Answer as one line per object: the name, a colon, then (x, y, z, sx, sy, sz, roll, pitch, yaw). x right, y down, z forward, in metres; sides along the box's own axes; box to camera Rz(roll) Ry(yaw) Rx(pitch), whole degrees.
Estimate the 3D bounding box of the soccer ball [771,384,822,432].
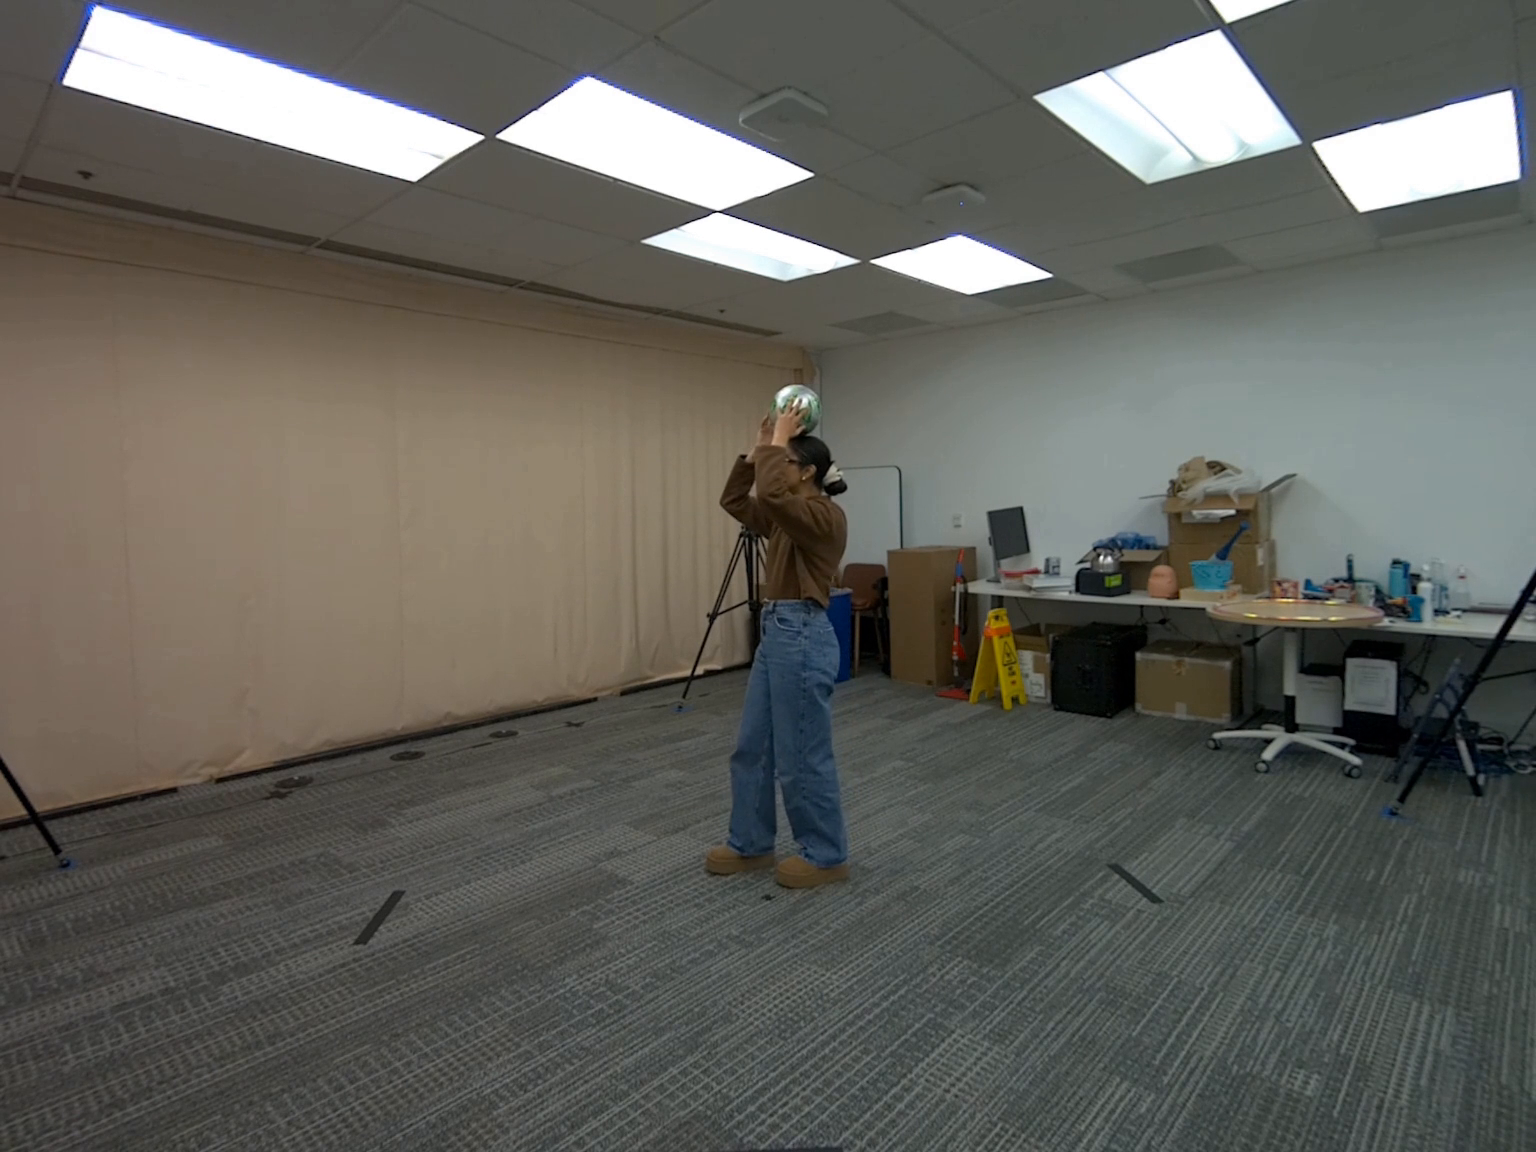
soccer ball: (0.102, -0.593, 3.039, 0.187, 0.187, 0.188, -1, 4, -2)
